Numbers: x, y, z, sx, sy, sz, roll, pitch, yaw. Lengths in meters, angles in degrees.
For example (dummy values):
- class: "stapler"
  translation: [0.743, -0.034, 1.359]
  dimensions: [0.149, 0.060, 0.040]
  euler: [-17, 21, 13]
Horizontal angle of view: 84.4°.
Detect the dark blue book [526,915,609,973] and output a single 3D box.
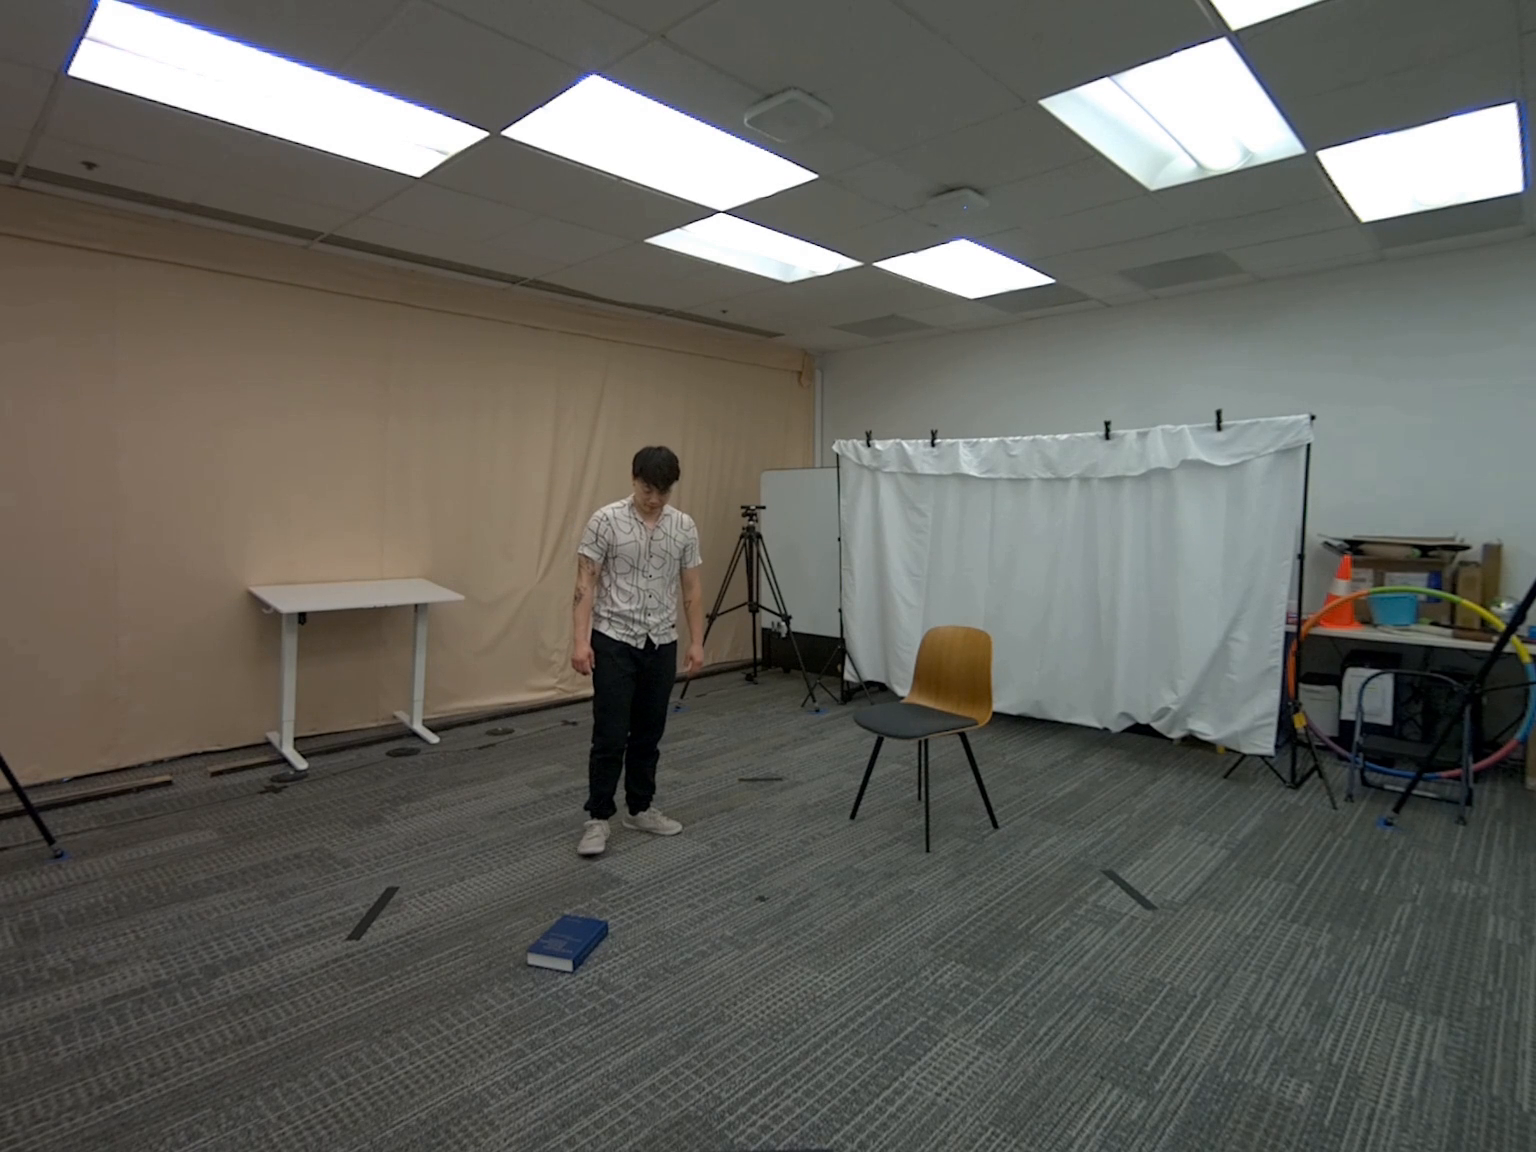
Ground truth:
- class: "dark blue book"
  translation: [-0.628, 1.144, 2.649]
  dimensions: [0.166, 0.045, 0.241]
  euler: [0, 5, 16]
